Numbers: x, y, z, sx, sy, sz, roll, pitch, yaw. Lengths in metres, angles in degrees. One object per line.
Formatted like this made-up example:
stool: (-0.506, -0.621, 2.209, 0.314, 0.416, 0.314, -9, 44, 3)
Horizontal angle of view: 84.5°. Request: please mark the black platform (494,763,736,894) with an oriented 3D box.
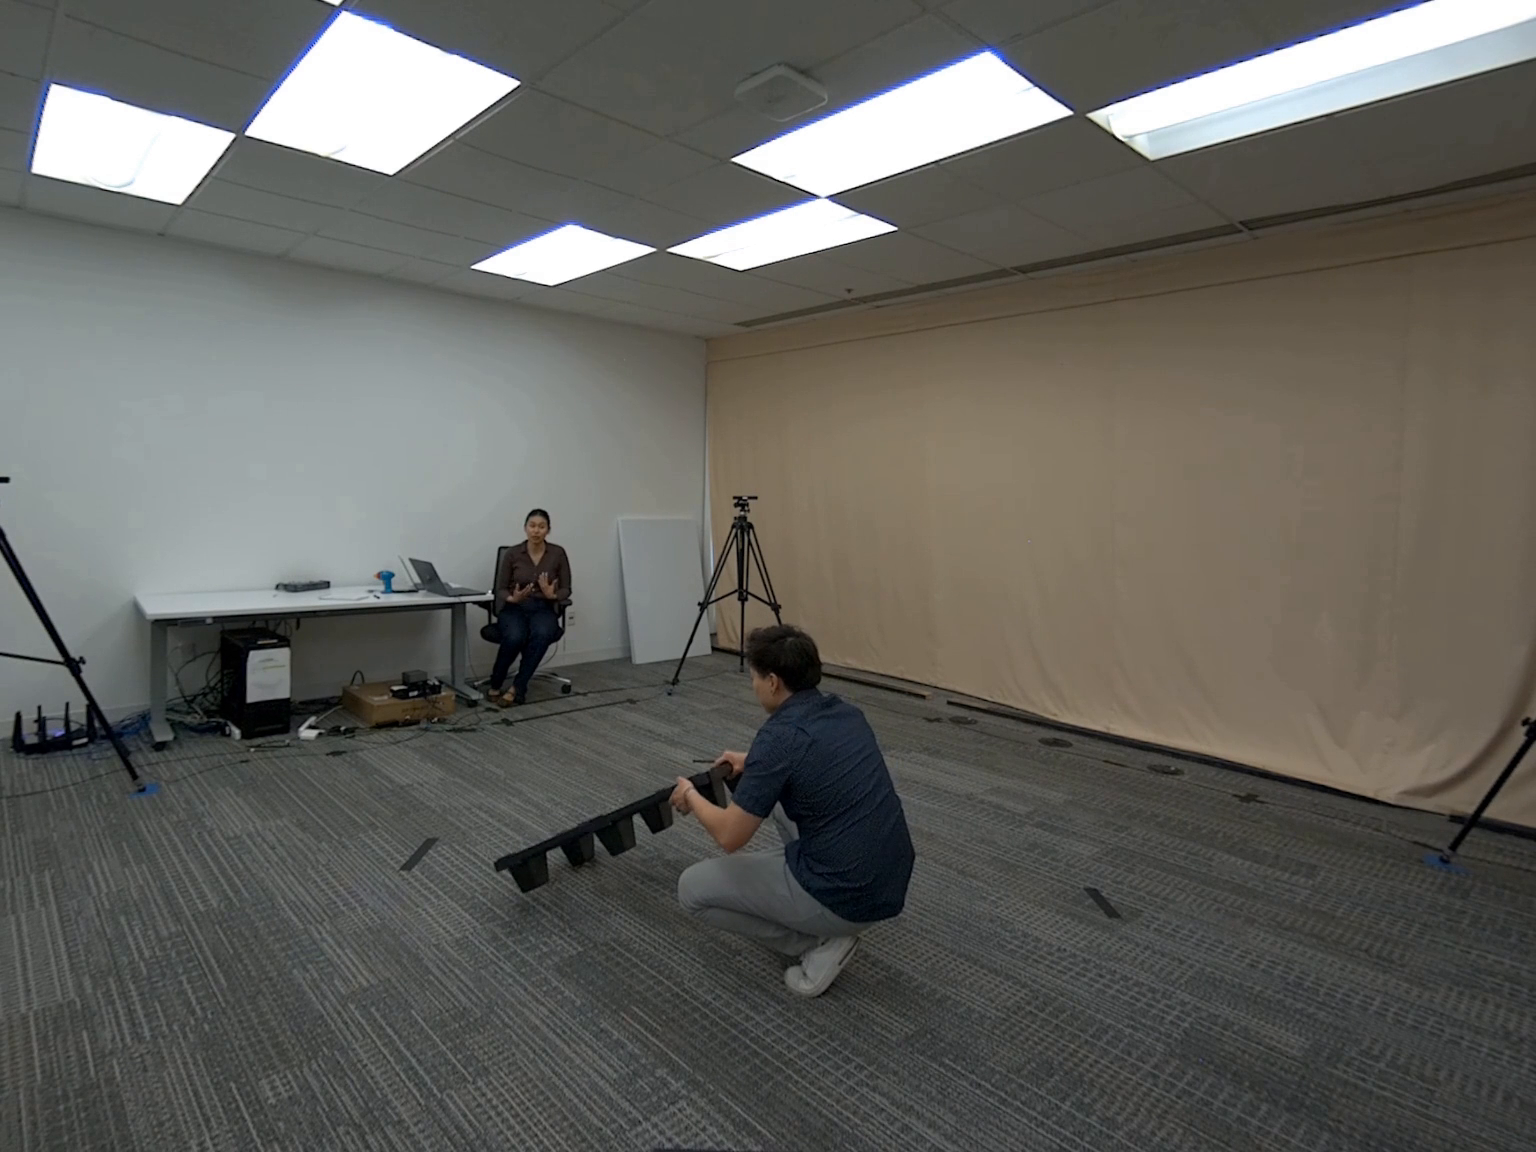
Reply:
black platform: (-0.451, 0.845, 2.914, 0.809, 0.145, 0.596, -26, -10, 11)
